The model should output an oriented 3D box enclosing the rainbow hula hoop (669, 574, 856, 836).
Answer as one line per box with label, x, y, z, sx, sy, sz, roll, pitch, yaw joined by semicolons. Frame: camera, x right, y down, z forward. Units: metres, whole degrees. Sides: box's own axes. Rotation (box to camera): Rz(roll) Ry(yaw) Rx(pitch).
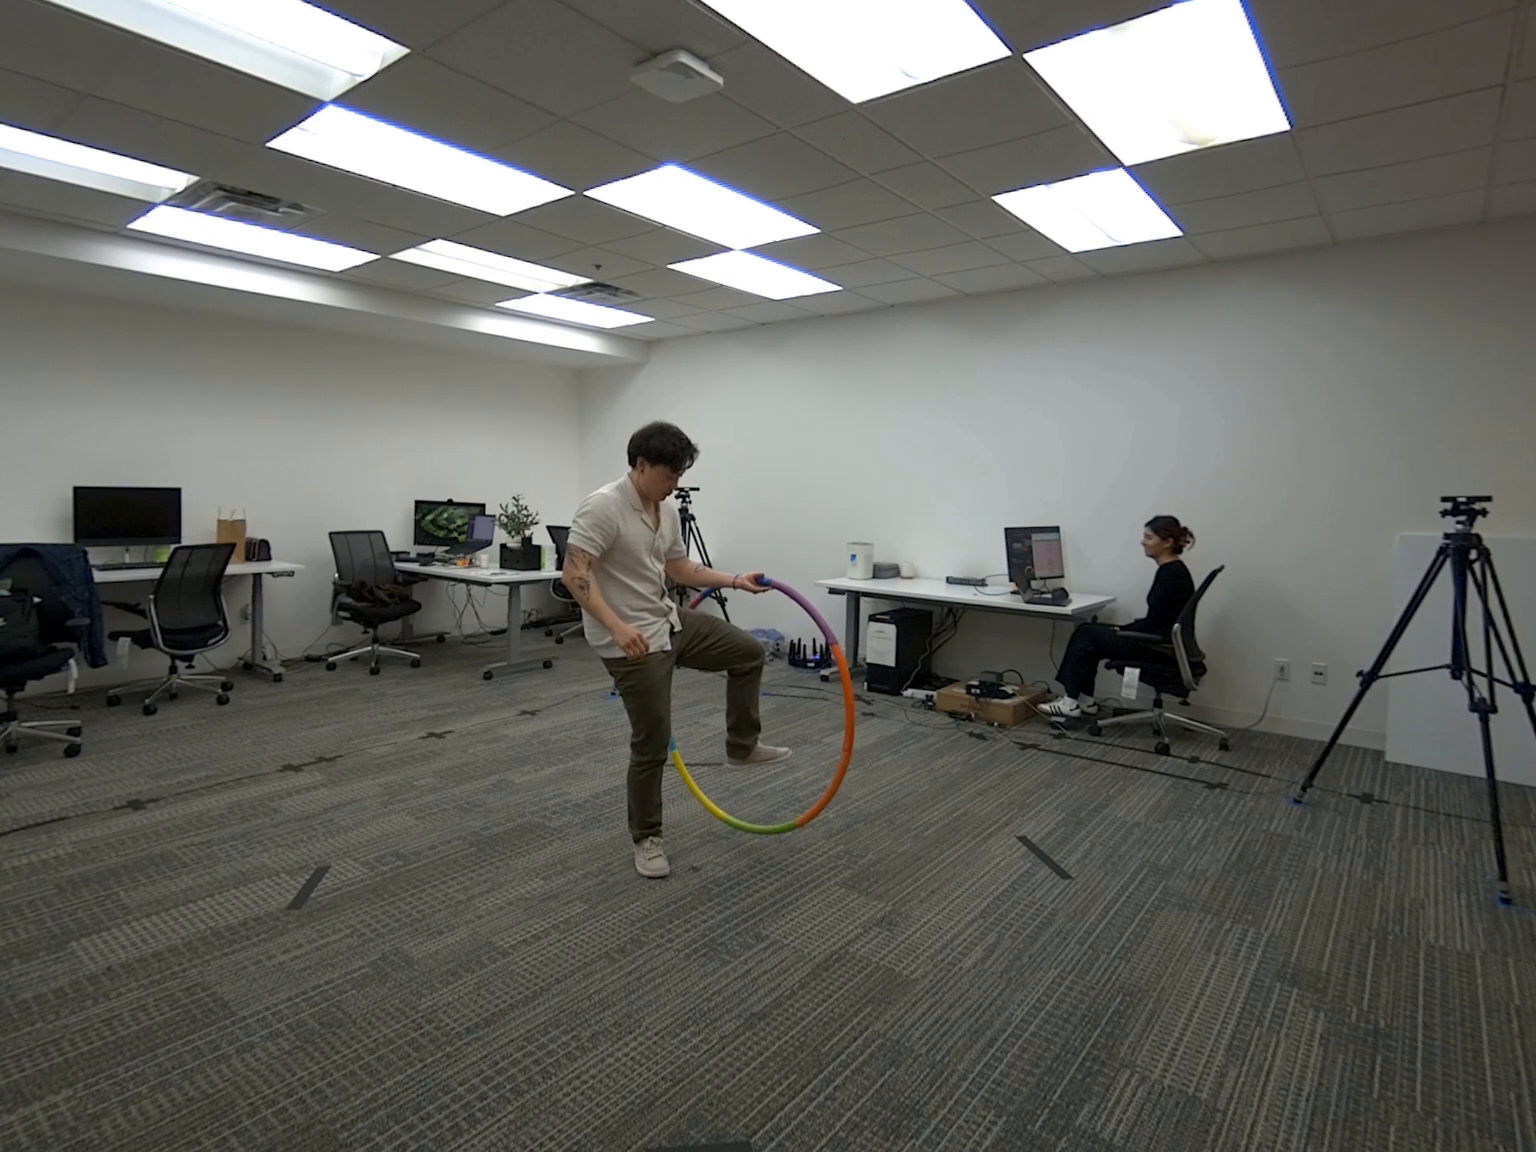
rainbow hula hoop;-0.085;0.490;3.301;1.012;0.978;0.034;4;1;41
